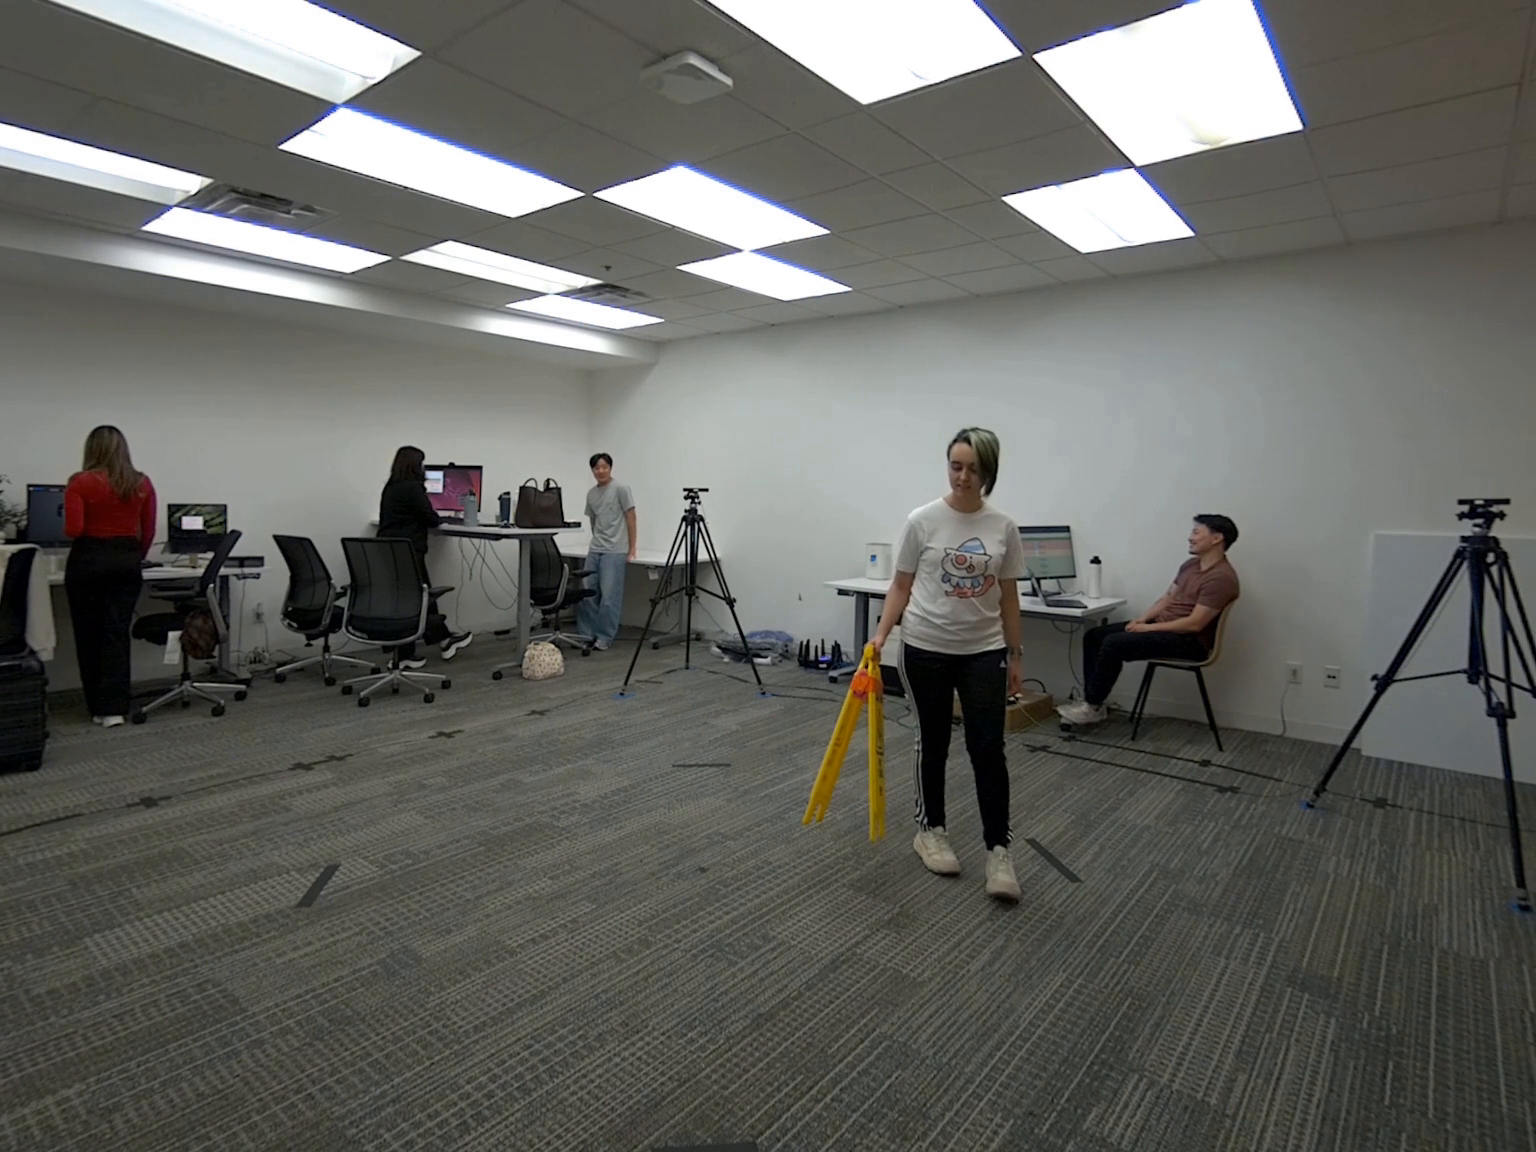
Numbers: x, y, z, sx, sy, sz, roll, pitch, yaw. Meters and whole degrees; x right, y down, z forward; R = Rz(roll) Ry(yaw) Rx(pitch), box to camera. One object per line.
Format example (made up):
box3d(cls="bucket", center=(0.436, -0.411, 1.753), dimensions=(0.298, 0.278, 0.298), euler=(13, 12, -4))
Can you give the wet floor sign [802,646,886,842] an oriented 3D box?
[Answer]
box3d(cls="wet floor sign", center=(0.327, 0.576, 3.035), dimensions=(0.296, 0.651, 0.274), euler=(7, -10, 18))
